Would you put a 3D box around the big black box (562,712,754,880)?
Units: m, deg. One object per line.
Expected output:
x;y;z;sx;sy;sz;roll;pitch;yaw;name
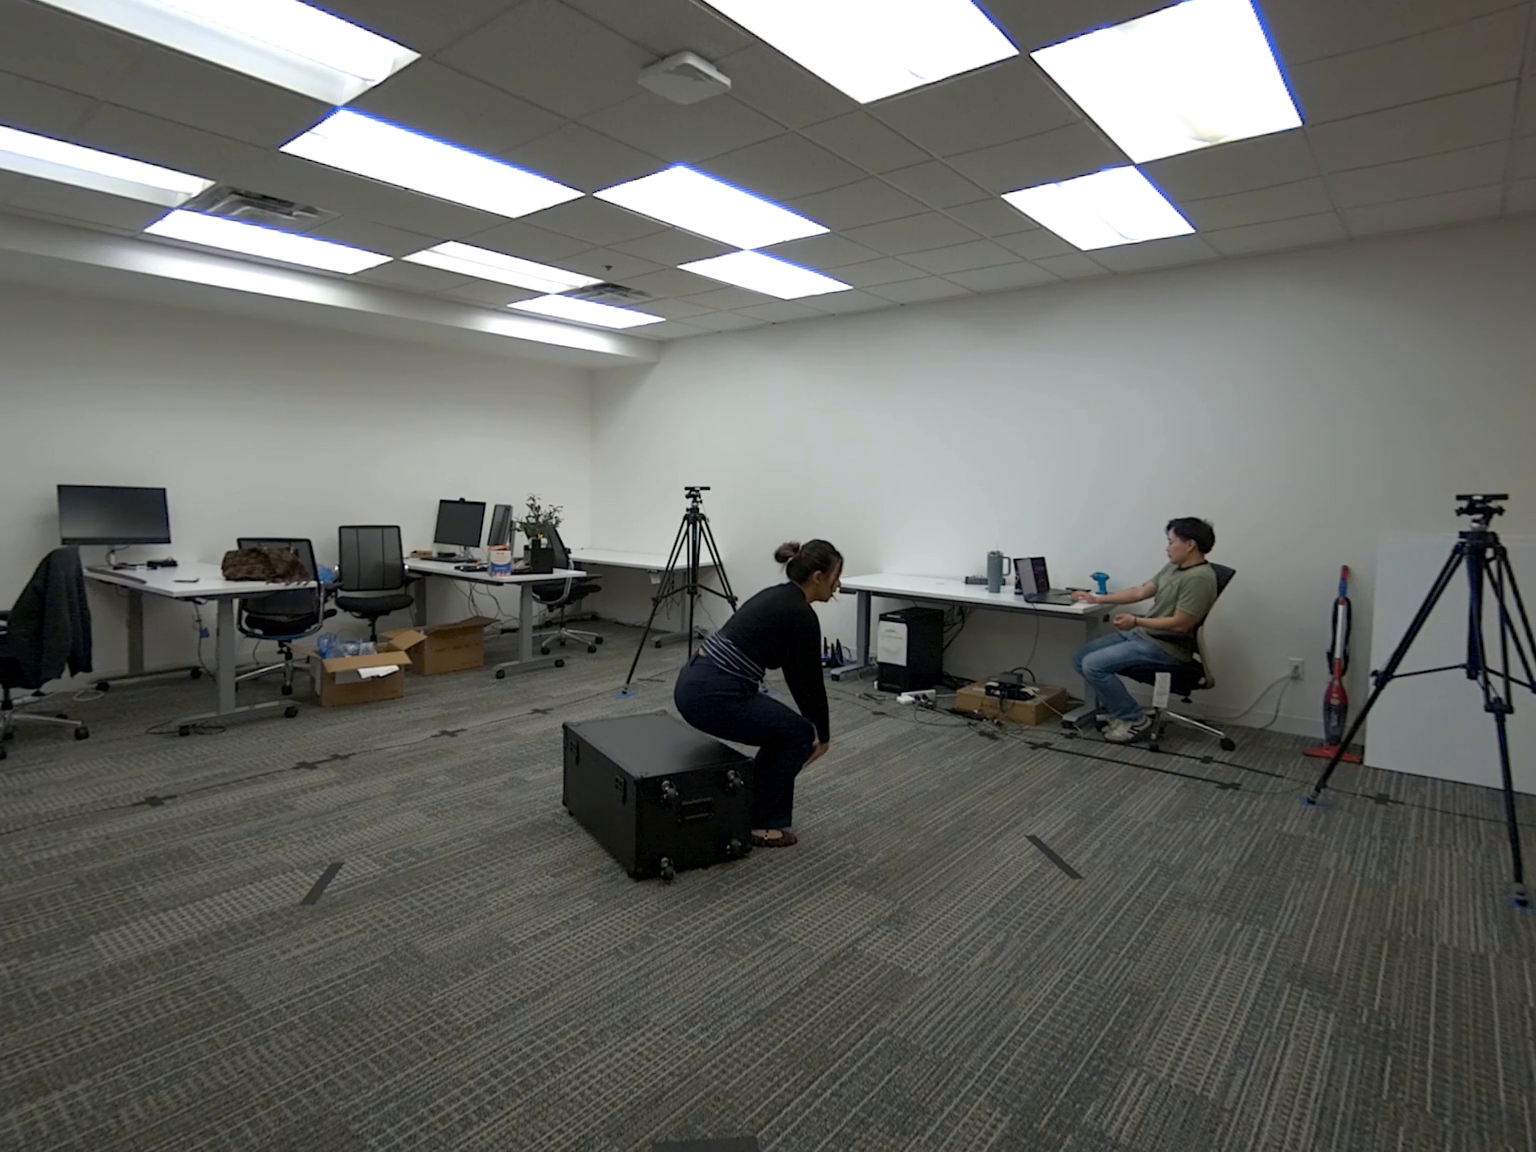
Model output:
-0.495;0.837;3.440;0.507;0.395;0.888;-2;6;-31;big black box
